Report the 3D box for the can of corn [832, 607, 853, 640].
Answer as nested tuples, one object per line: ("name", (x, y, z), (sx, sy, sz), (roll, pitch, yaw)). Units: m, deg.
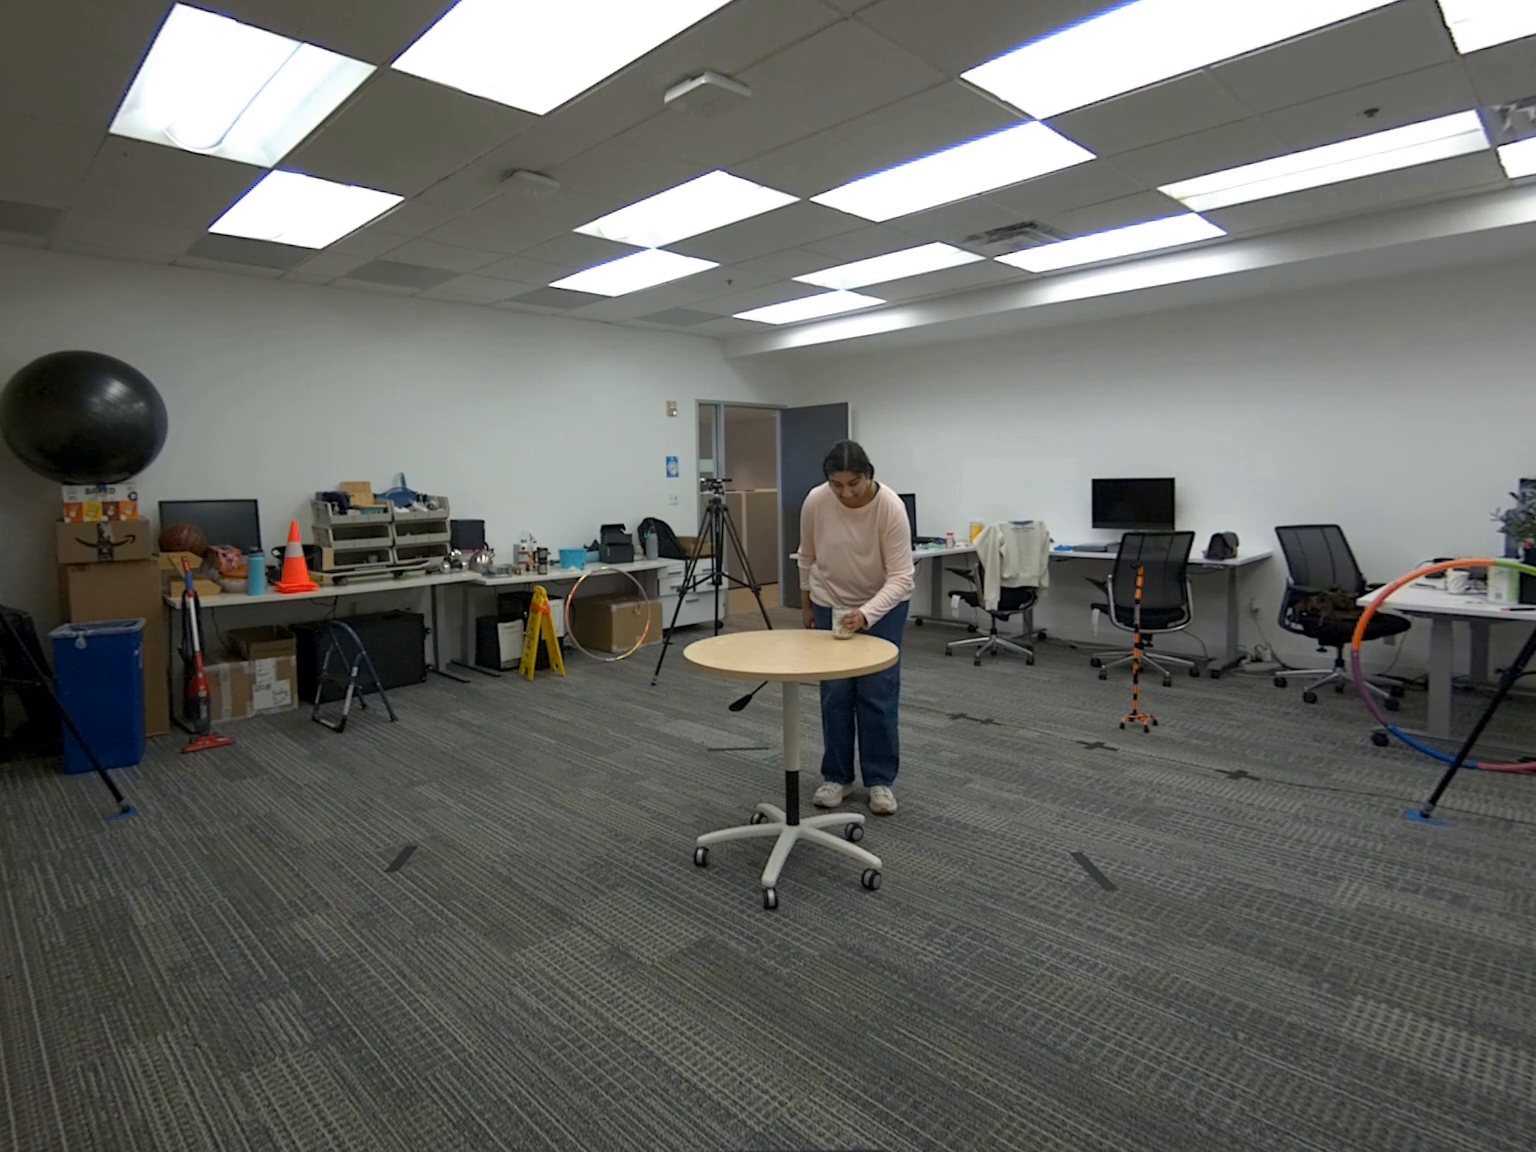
("can of corn", (0.319, 0.175, 3.249), (0.074, 0.111, 0.074), (-3, 3, -1))
